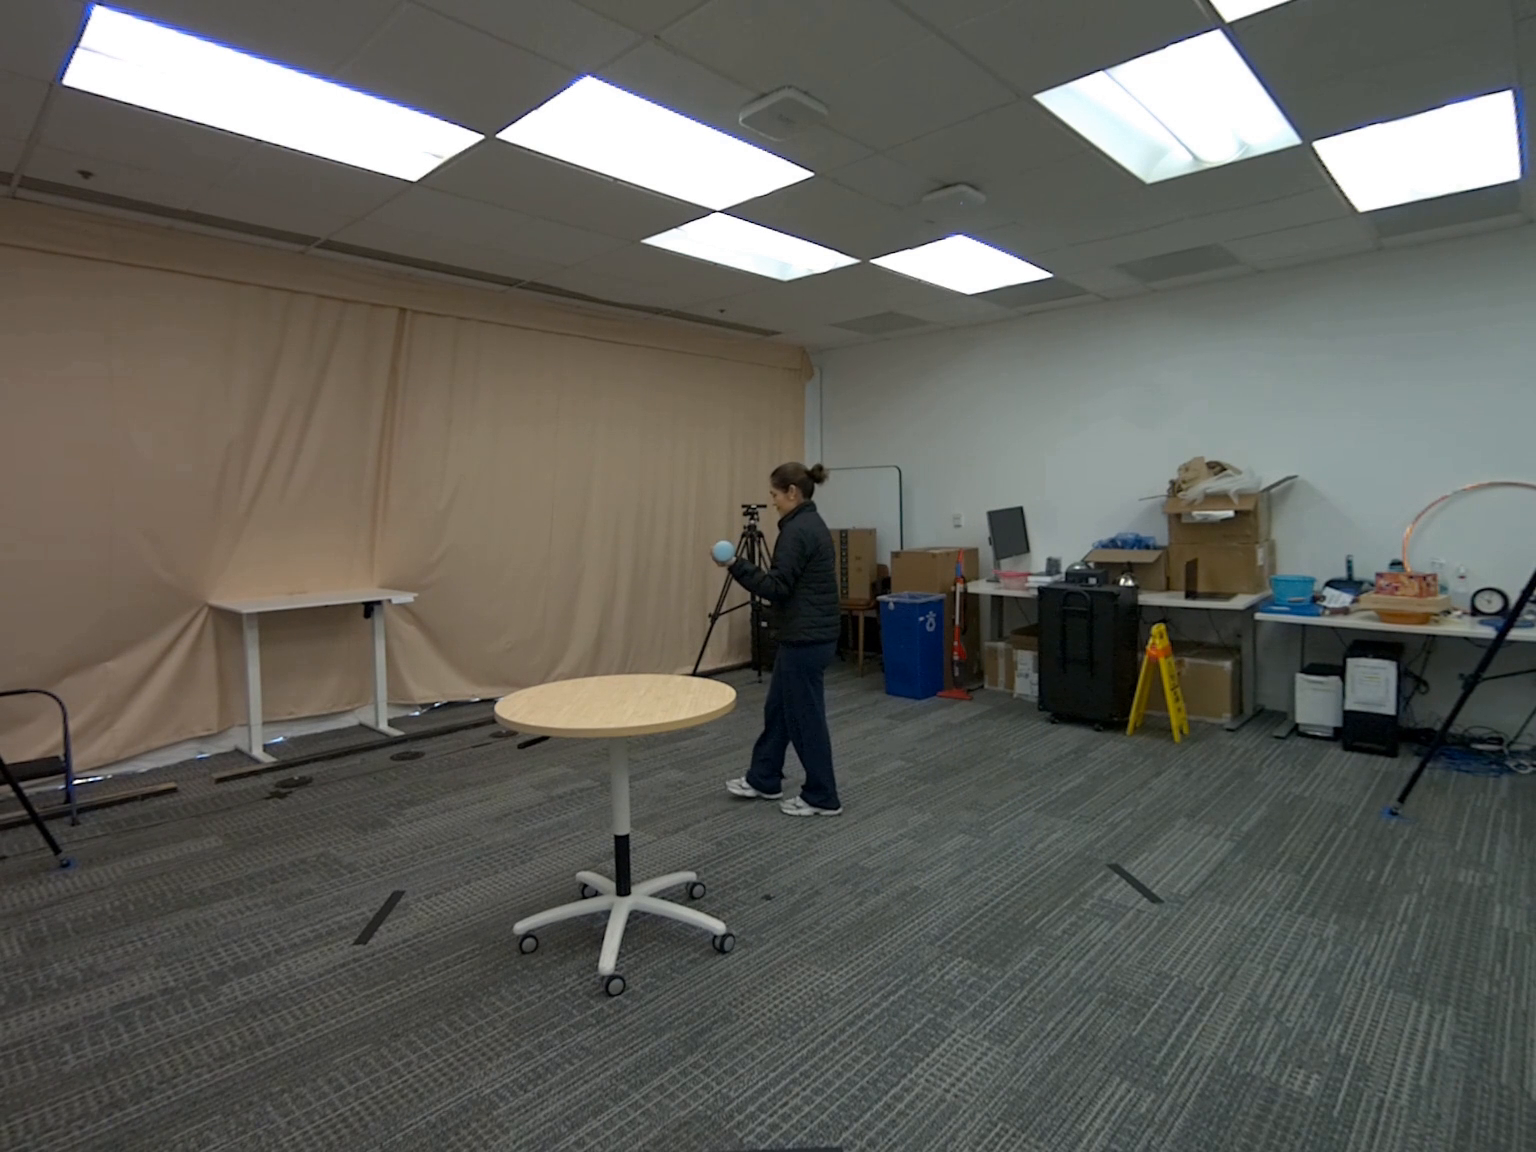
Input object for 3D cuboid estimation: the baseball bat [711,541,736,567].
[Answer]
[{"bbox_3d":[-0.172,-0.102,3.667,0.089,0.089,0.541,-1,1,0],"label":"baseball bat"}]
